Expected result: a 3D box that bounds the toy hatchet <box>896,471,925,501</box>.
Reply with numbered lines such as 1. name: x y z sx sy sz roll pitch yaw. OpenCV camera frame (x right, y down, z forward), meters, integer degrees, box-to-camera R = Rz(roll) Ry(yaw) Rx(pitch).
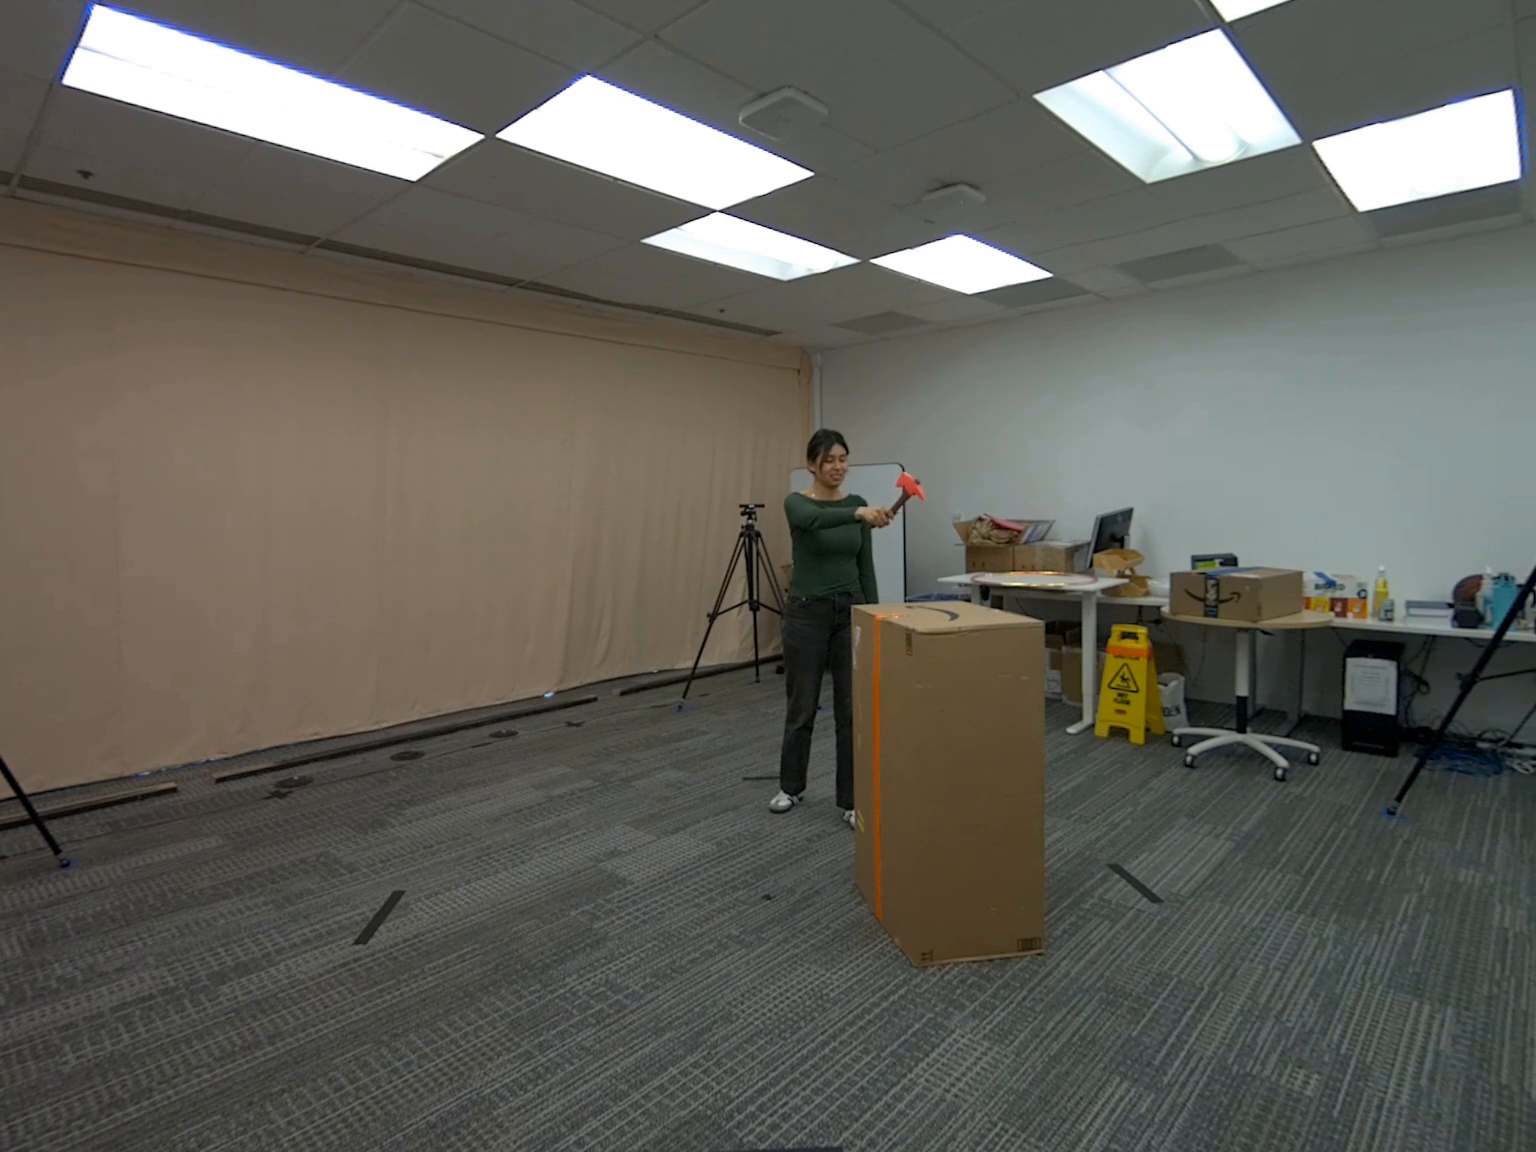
1. toy hatchet: 0.446 -0.273 3.051 0.029 0.133 0.275 -3 -19 -41
